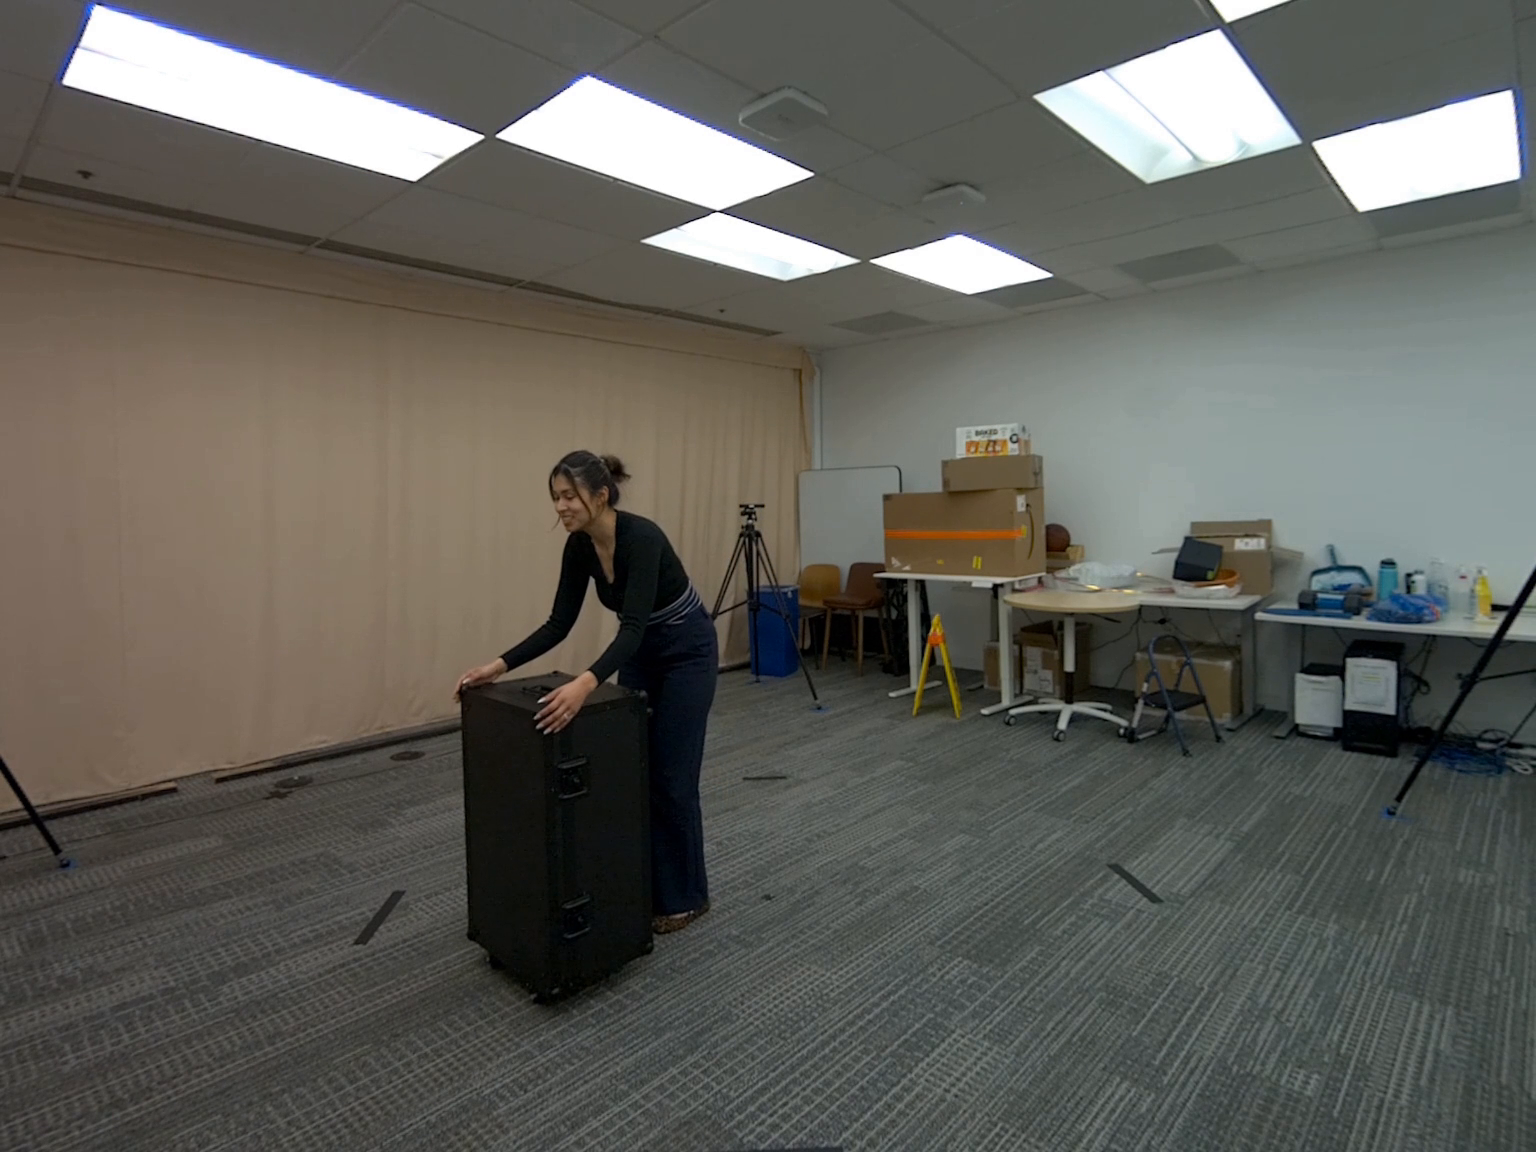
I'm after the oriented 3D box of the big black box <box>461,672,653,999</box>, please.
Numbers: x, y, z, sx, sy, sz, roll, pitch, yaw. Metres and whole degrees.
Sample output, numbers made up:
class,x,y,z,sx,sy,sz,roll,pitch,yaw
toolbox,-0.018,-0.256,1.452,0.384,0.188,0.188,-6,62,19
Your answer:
class,x,y,z,sx,sy,sz,roll,pitch,yaw
big black box,-0.641,0.769,2.544,0.538,0.860,0.384,2,3,45
